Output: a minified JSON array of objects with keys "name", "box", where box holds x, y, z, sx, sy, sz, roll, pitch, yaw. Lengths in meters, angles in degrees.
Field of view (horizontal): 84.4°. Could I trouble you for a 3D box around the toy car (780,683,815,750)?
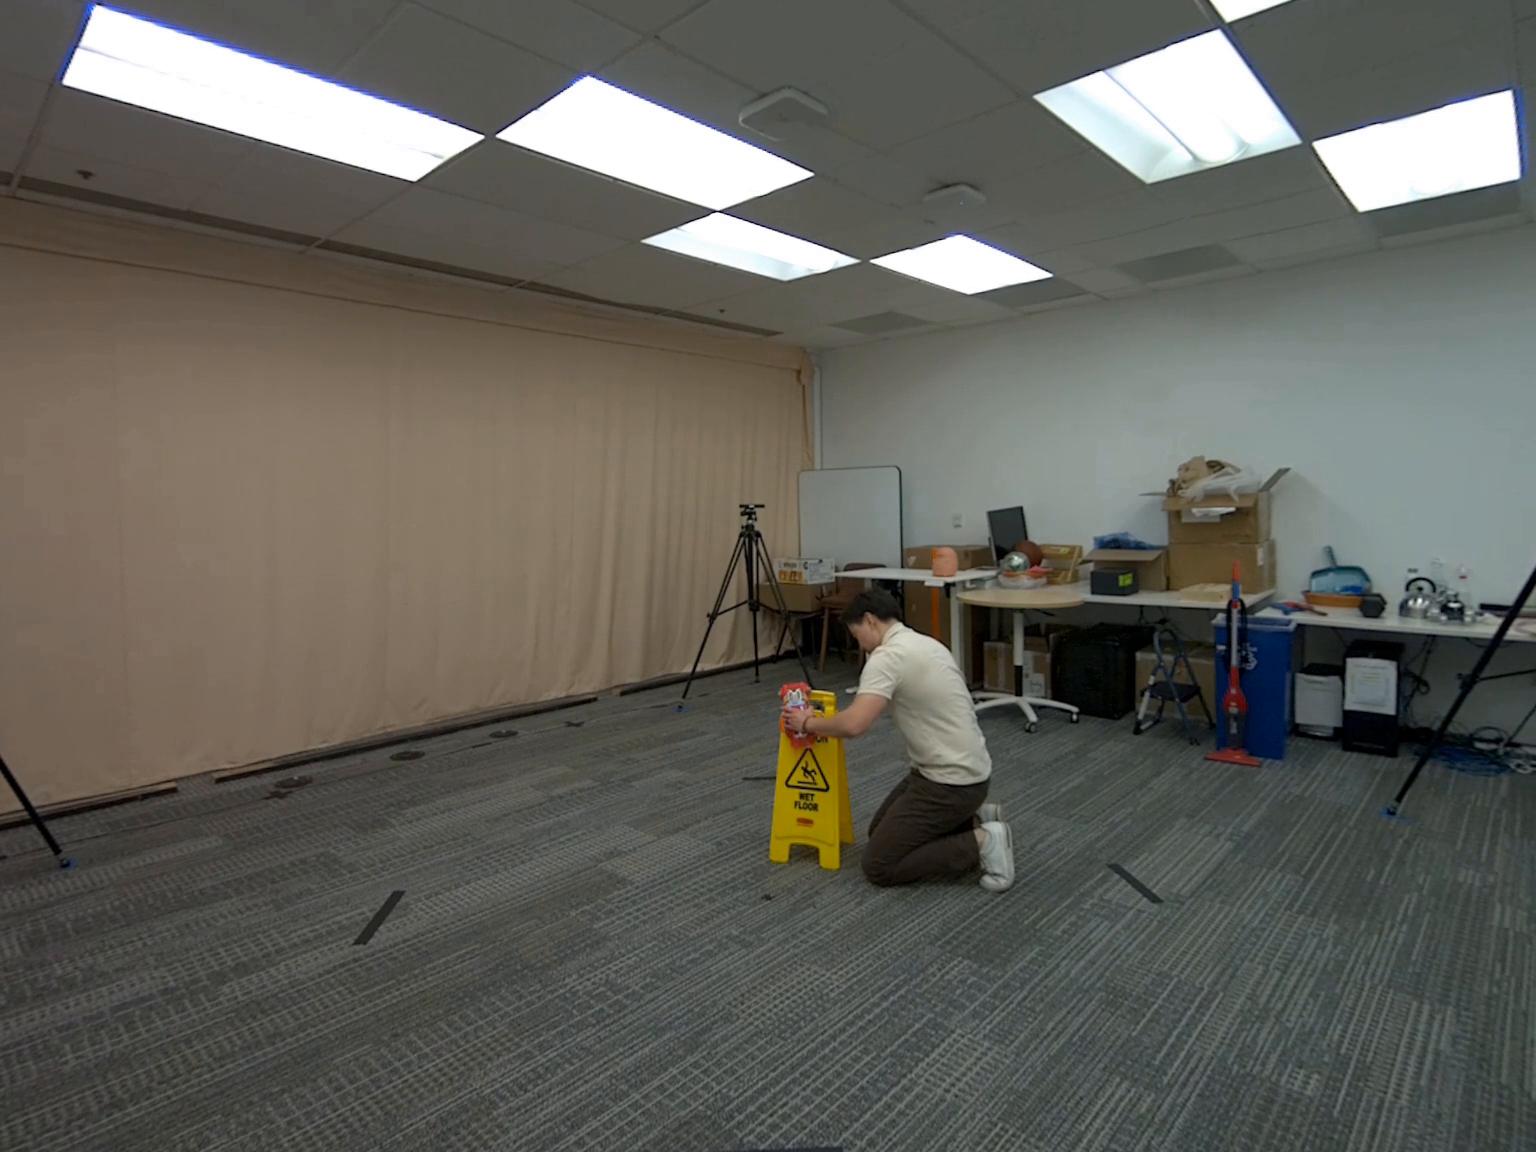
[{"name":"toy car","box":[0.130,0.552,3.296,0.131,0.259,0.081,-11,-27,9]}]
